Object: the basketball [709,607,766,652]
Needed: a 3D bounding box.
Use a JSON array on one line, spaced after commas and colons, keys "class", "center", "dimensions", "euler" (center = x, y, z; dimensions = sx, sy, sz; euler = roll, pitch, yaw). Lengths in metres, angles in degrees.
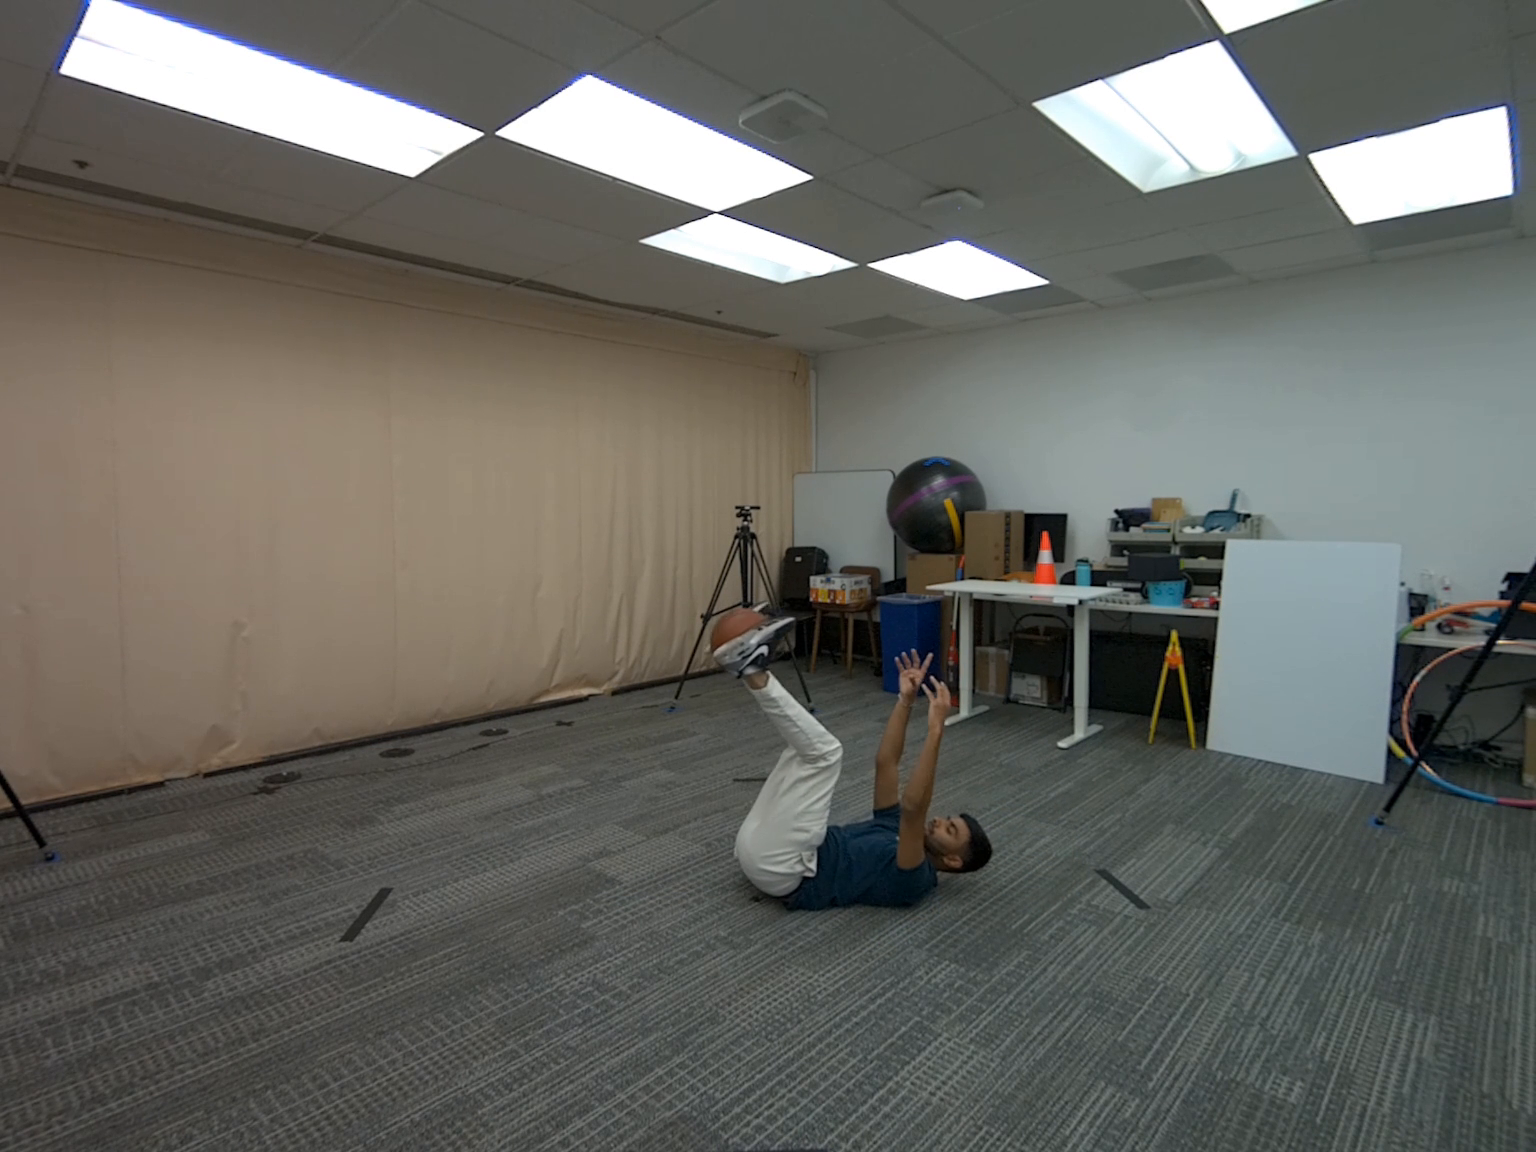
[{"class": "basketball", "center": [-0.096, 0.242, 2.989], "dimensions": [0.236, 0.235, 0.237], "euler": [0, 4, -2]}]
